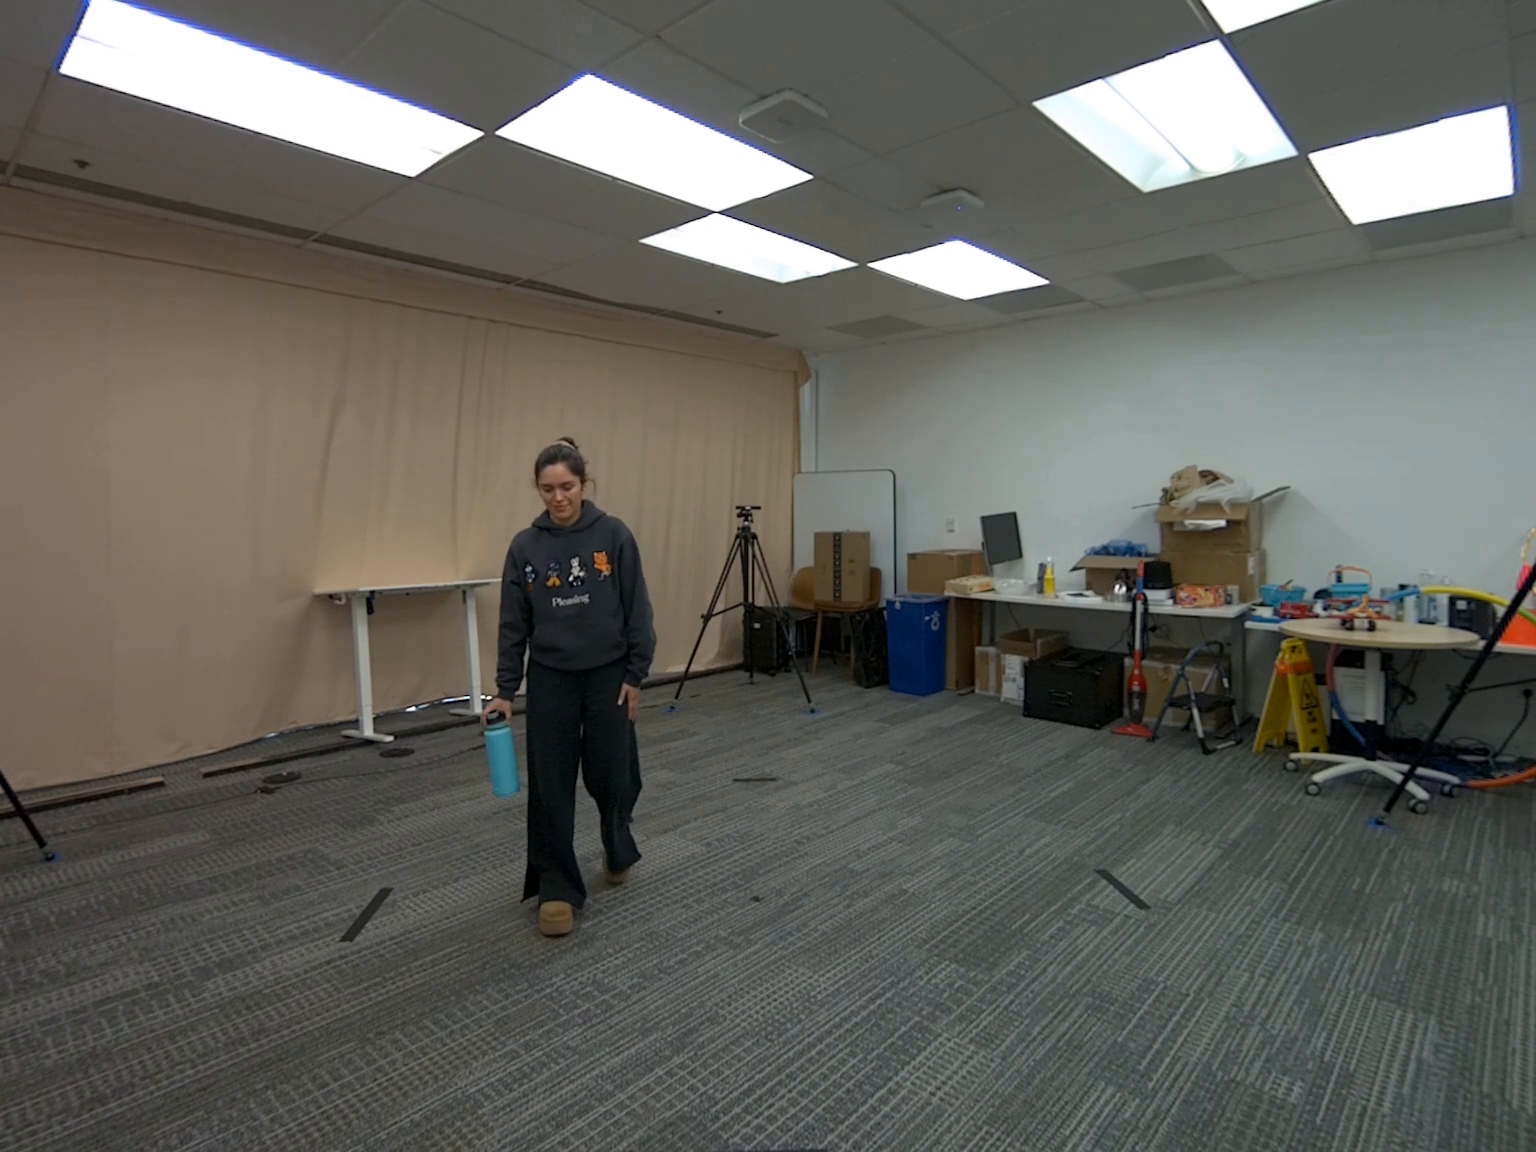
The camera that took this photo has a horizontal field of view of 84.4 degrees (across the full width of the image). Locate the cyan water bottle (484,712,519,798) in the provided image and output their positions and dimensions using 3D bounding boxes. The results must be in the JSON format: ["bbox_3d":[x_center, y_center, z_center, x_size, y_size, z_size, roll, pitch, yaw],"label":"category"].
[{"bbox_3d":[-0.877,0.599,2.836,0.092,0.282,0.093,-7,5,-1],"label":"cyan water bottle"}]
